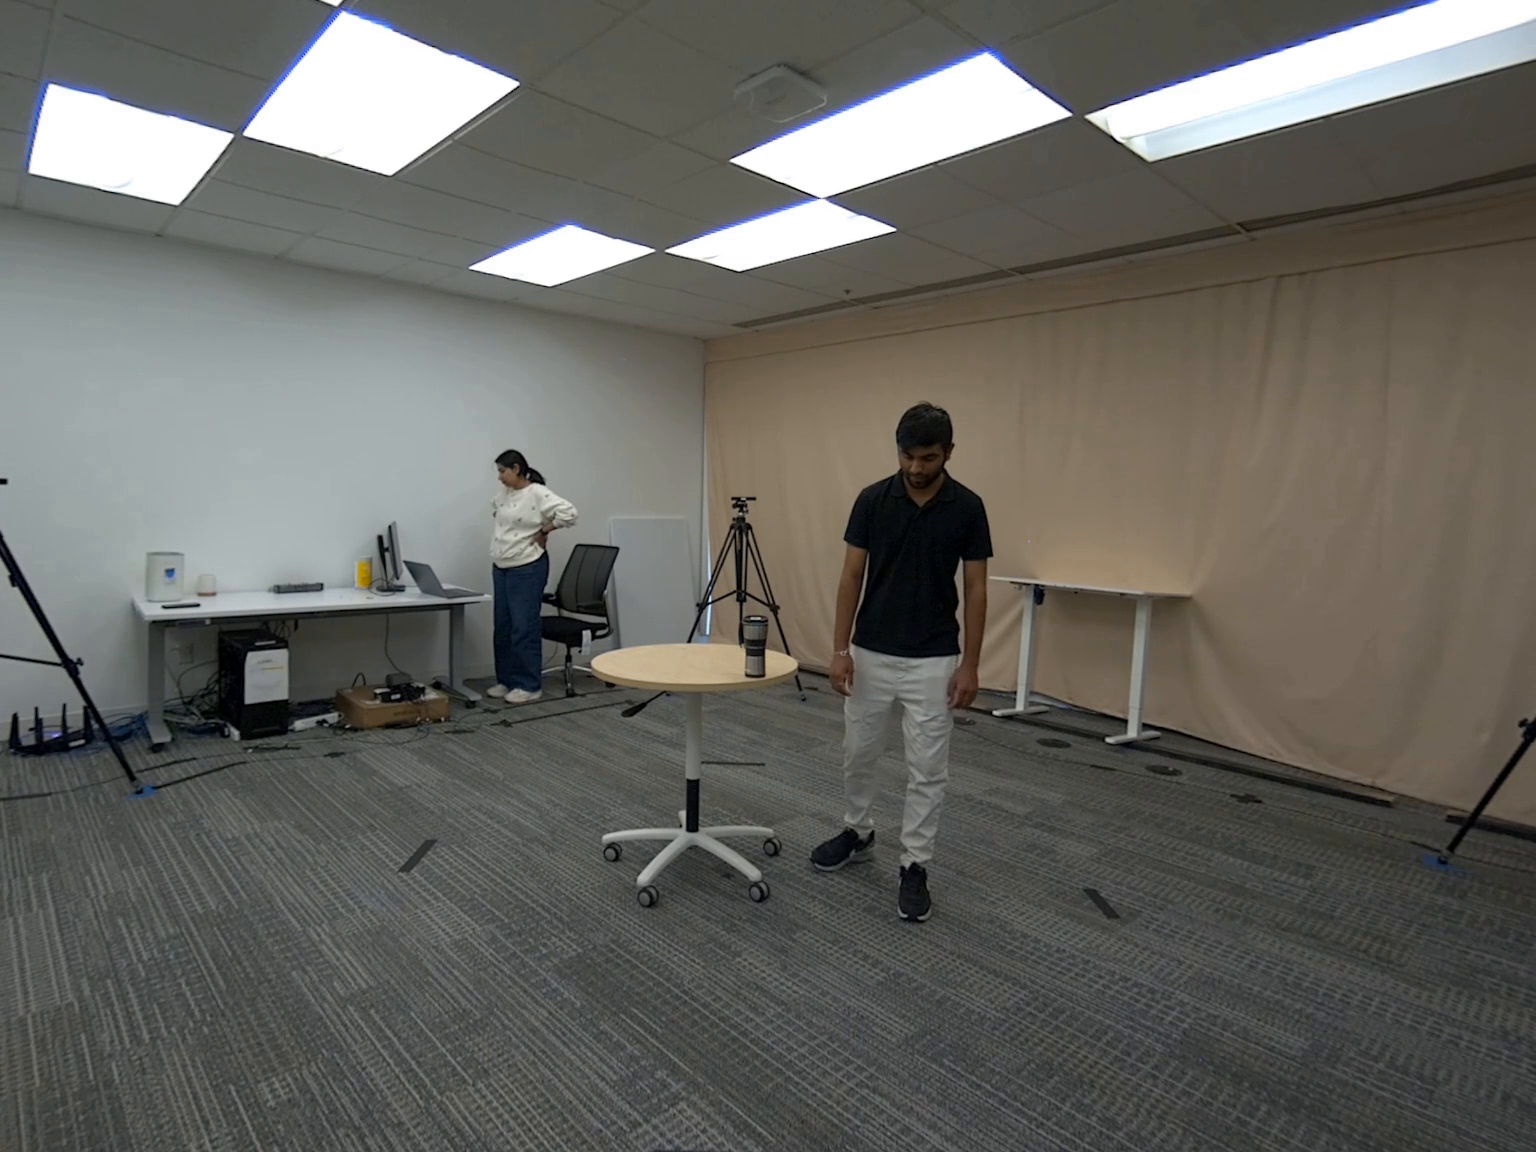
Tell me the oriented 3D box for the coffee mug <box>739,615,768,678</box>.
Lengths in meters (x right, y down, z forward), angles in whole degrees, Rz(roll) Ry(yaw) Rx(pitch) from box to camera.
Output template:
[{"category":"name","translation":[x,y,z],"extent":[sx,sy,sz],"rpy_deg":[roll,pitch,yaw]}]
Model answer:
[{"category":"coffee mug","translation":[-0.032,0.241,2.897],"extent":[0.119,0.203,0.090],"rpy_deg":[-6,1,-44]}]
